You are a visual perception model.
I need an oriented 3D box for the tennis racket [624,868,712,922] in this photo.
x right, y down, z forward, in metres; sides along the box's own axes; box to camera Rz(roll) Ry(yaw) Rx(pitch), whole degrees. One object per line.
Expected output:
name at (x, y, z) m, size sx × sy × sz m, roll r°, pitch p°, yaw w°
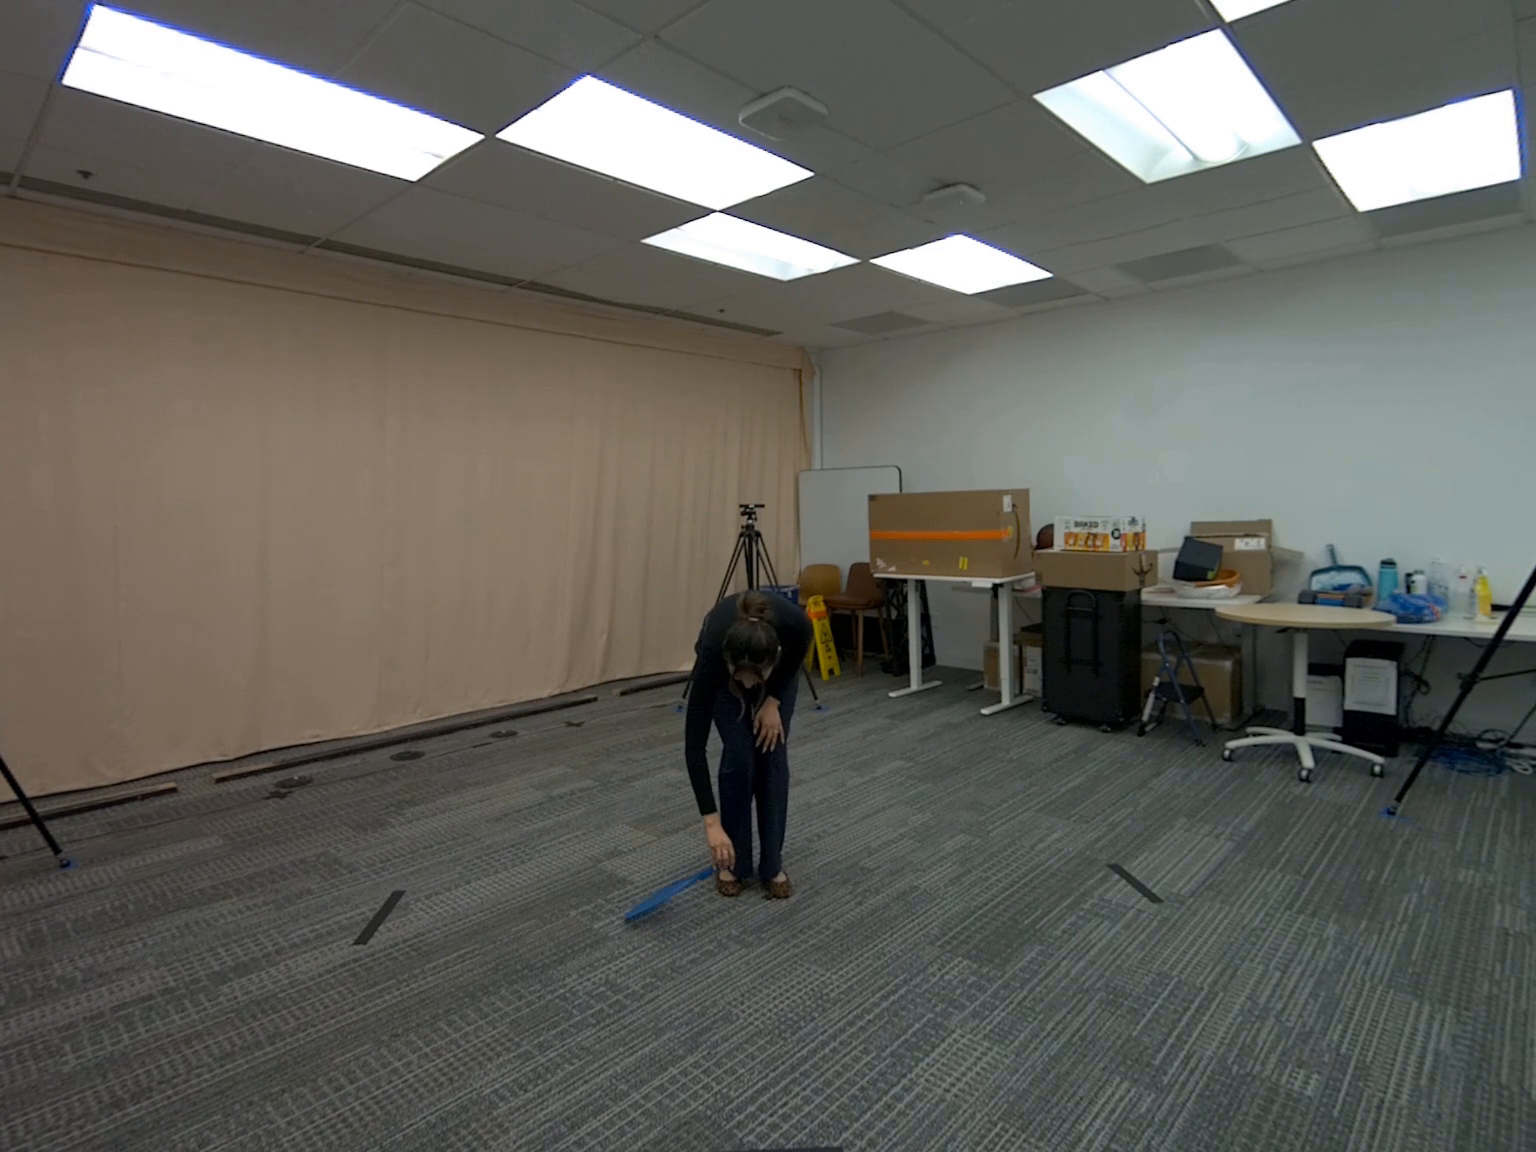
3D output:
tennis racket at (-0.310, 1.048, 2.818) m, size 0.437 × 0.032 × 0.210 m, roll -31°, pitch -5°, yaw 15°
